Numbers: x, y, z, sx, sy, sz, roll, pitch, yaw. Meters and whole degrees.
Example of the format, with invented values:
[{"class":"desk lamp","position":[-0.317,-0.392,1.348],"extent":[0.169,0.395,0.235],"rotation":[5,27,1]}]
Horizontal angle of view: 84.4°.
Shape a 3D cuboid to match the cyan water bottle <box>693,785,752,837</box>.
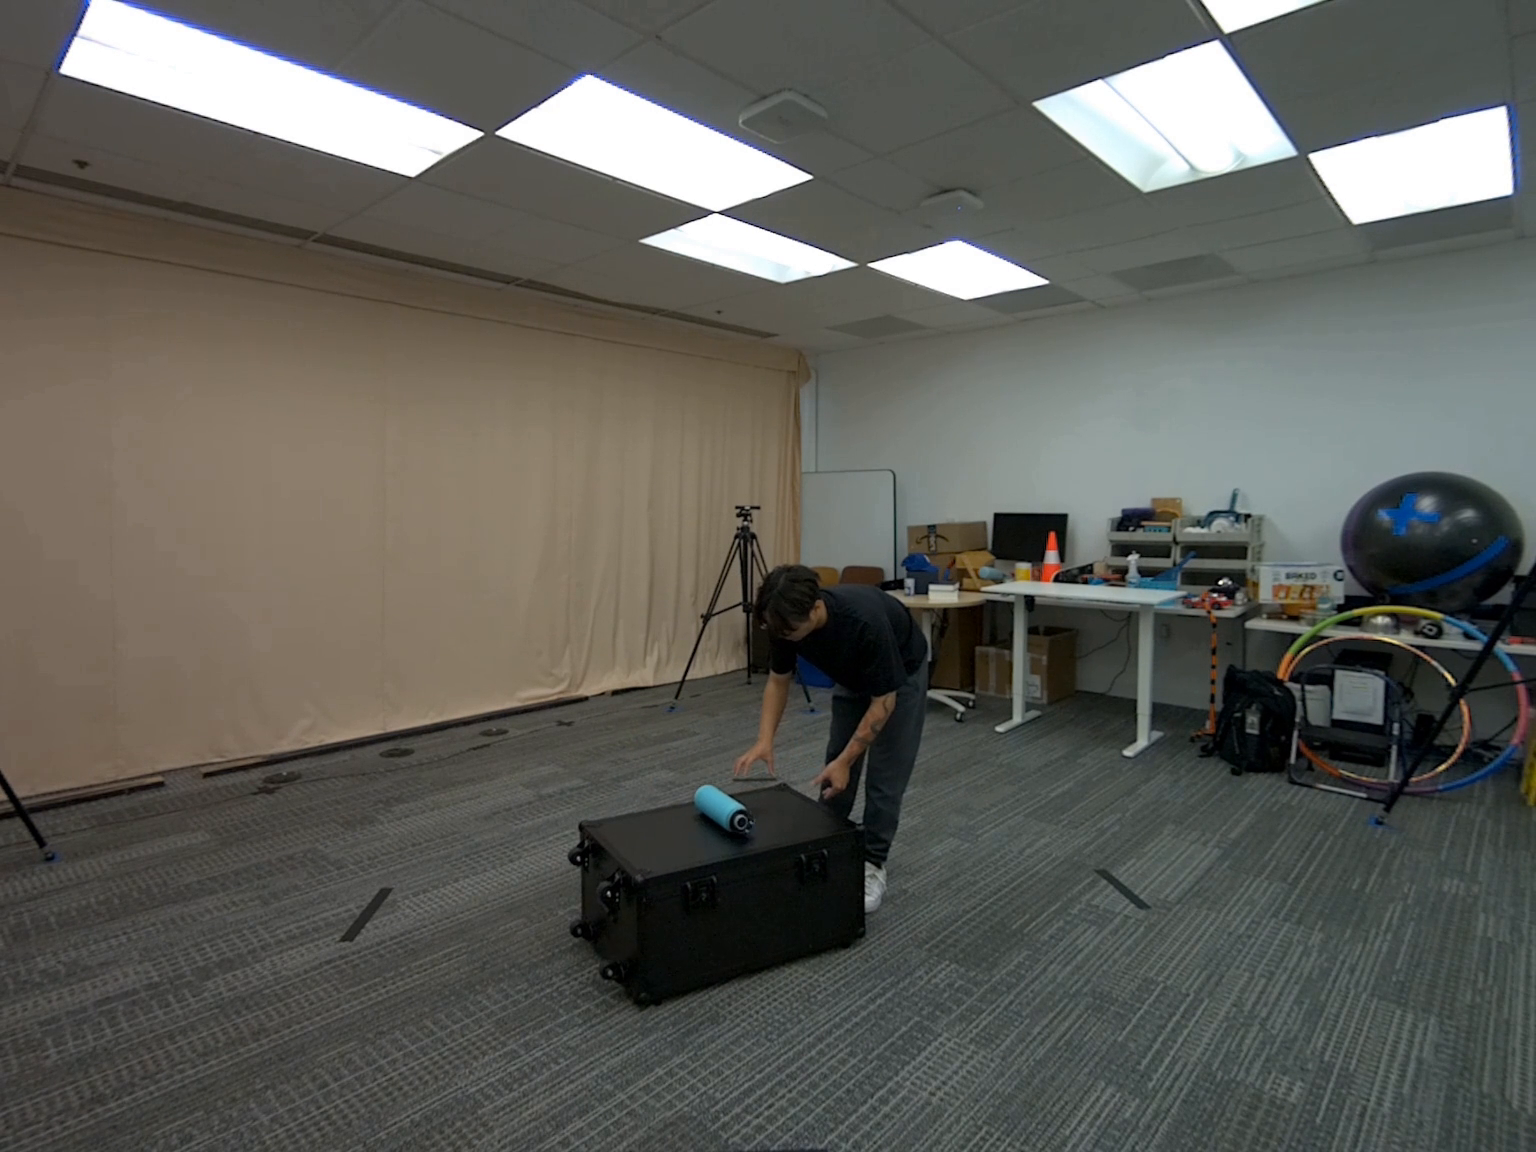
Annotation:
[{"class":"cyan water bottle","position":[-0.129,0.743,2.683],"extent":[0.090,0.092,0.291],"rotation":[-2,4,-30]}]
